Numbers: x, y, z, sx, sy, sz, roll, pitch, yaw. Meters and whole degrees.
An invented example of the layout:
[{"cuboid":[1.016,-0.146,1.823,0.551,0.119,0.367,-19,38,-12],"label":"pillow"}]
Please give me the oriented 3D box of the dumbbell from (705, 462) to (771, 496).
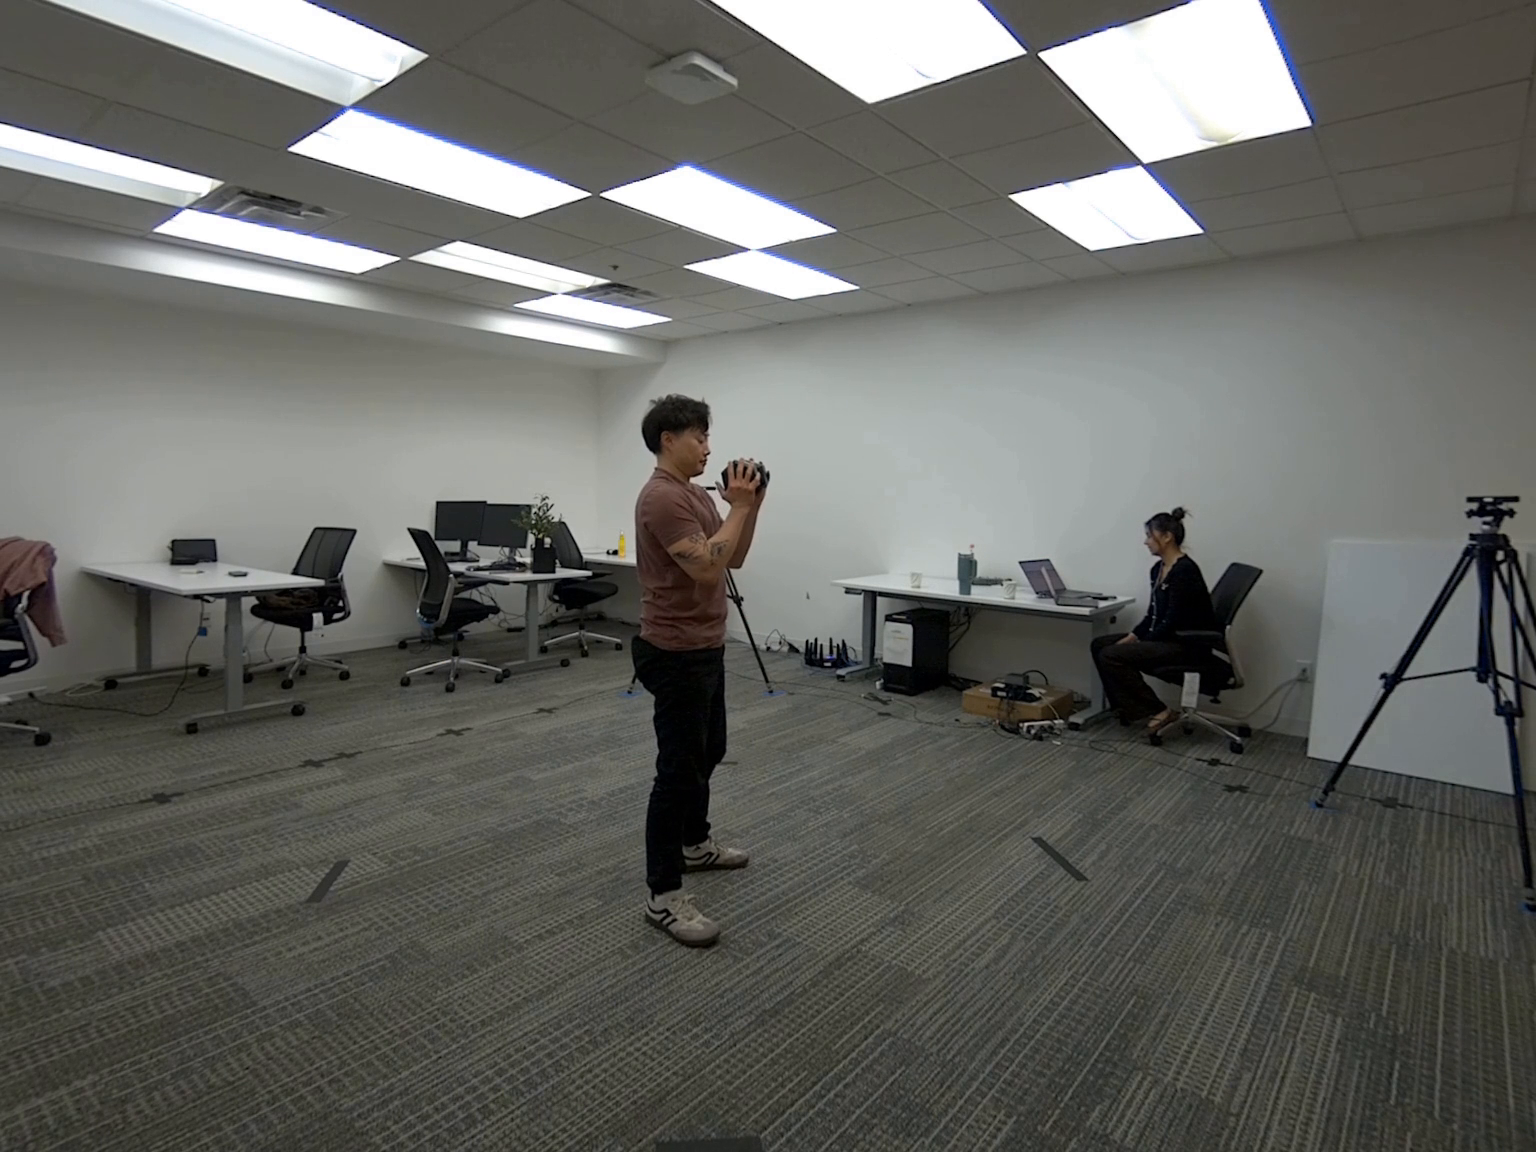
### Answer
[{"cuboid":[-0.091,-0.316,2.807,0.123,0.109,0.293,-41,2,7],"label":"dumbbell"}]
